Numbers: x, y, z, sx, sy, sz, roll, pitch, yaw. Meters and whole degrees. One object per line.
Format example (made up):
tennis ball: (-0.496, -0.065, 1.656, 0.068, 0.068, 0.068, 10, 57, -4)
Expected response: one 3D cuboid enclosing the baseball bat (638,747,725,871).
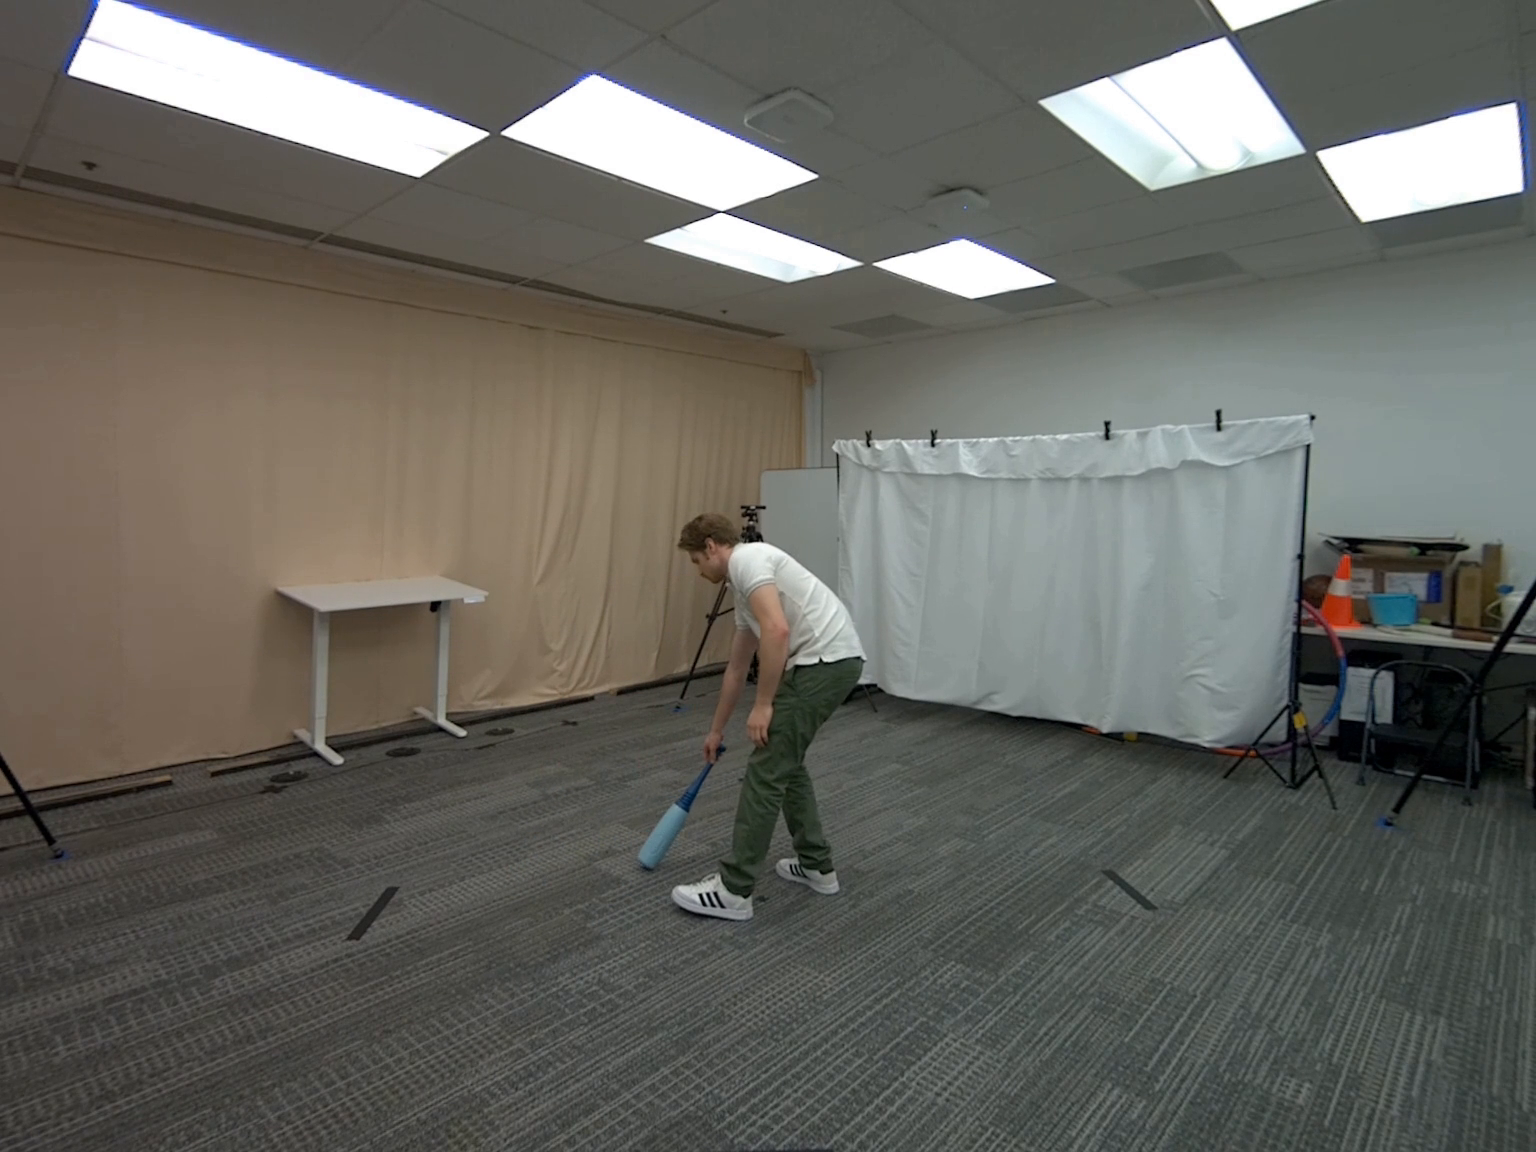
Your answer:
baseball bat: (-0.324, 0.896, 3.291, 0.090, 0.542, 0.088, 33, -15, 8)
